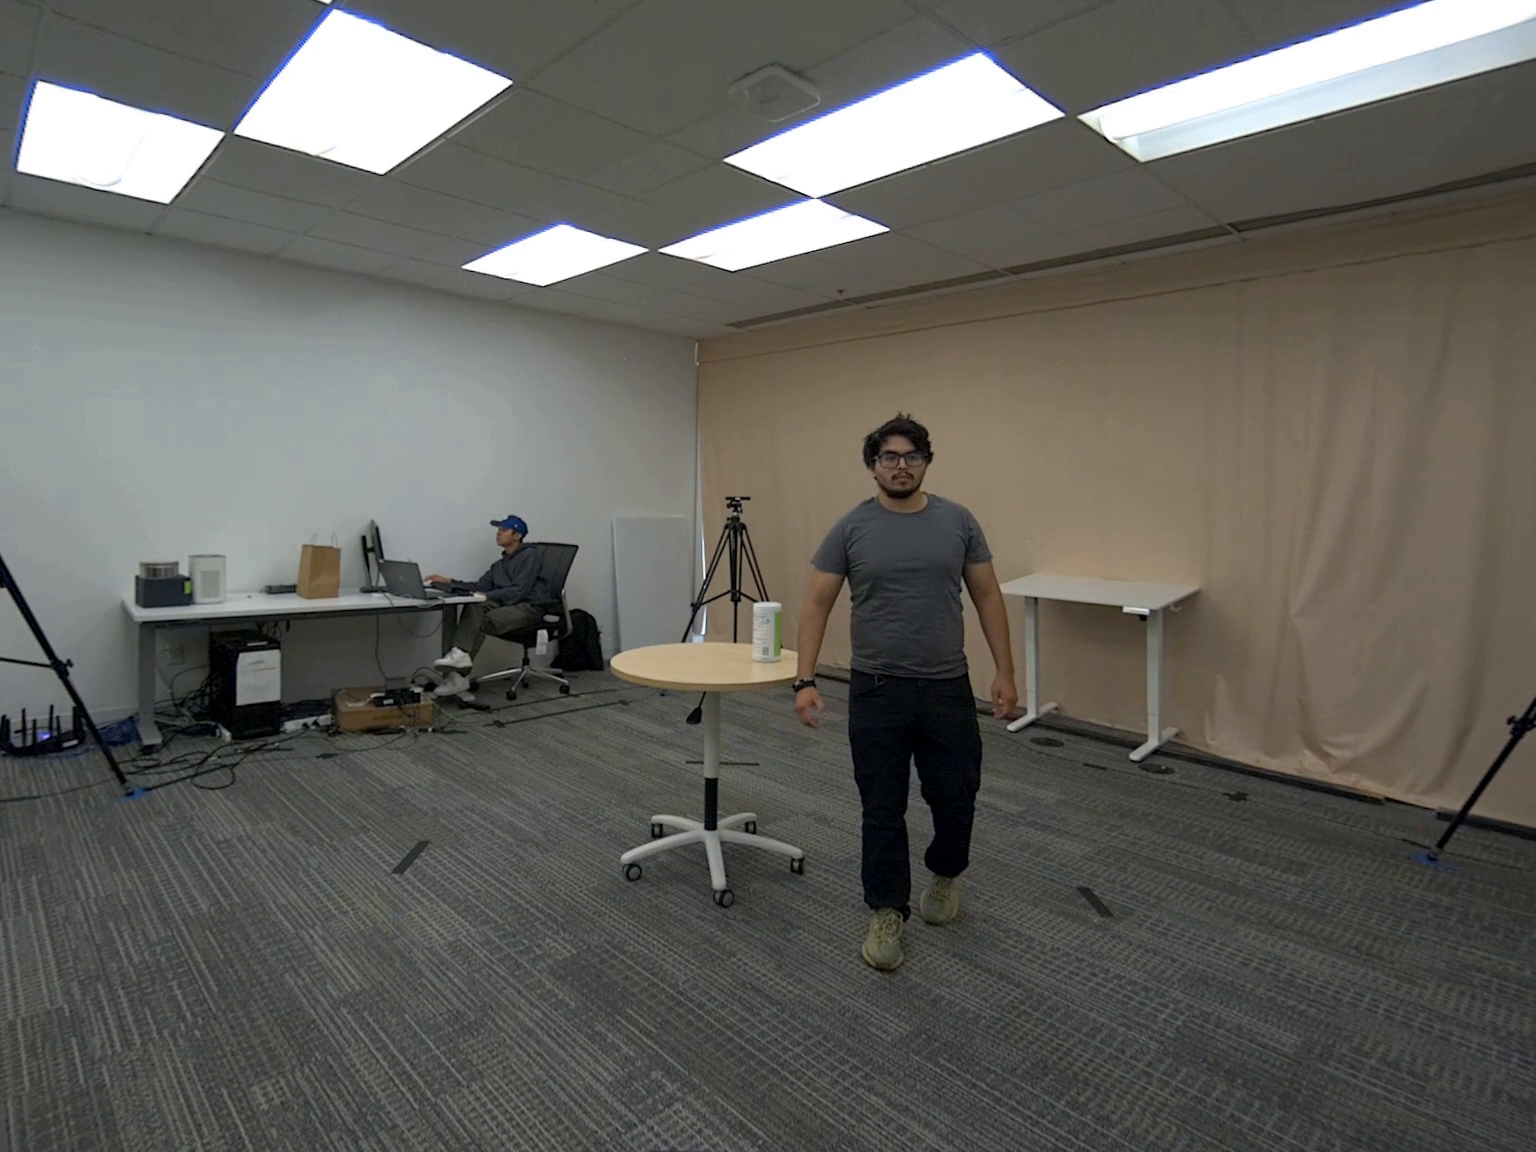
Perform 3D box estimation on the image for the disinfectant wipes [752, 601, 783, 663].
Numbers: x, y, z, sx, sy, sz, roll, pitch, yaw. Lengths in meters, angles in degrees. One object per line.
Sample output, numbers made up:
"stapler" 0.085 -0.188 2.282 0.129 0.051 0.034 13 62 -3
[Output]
"disinfectant wipes" -0.014 0.214 3.177 0.118 0.217 0.118 1 4 -1
